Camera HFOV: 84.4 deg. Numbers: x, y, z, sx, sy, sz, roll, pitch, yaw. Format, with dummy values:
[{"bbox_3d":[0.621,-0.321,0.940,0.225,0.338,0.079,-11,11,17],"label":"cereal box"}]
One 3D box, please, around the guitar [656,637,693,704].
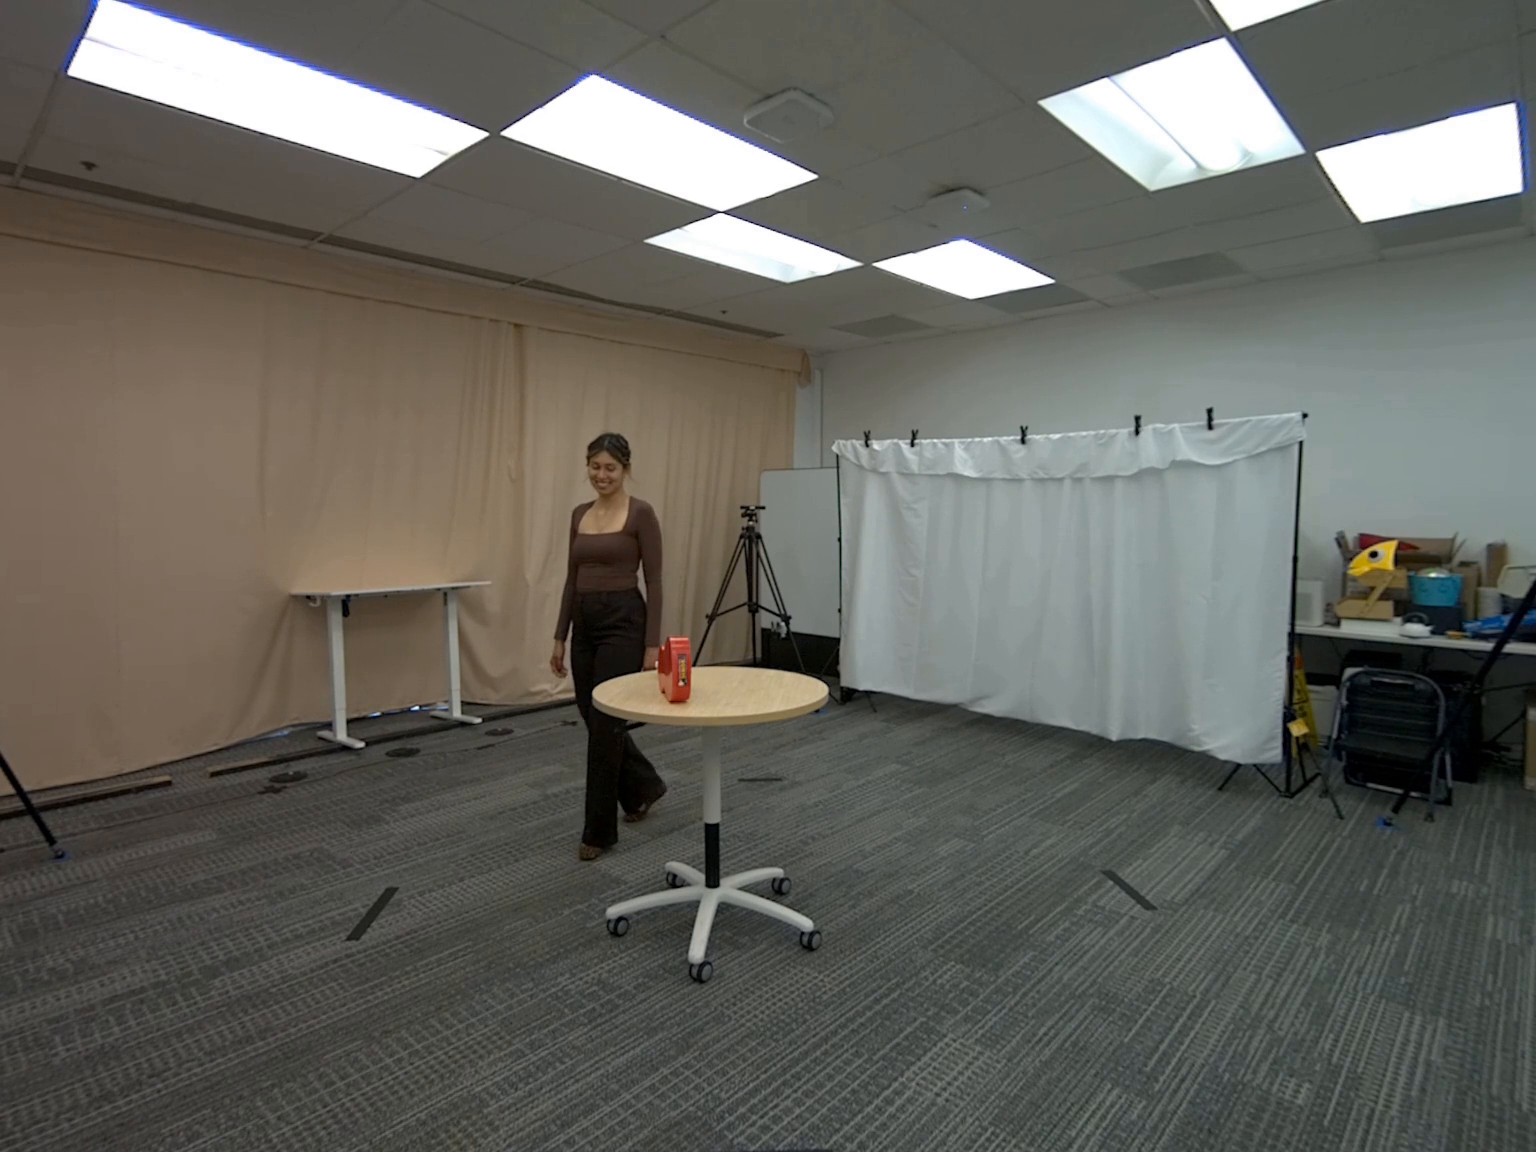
[{"bbox_3d":[-0.319,0.327,2.739,0.069,0.195,0.500,0,-15,-15],"label":"guitar"}]
